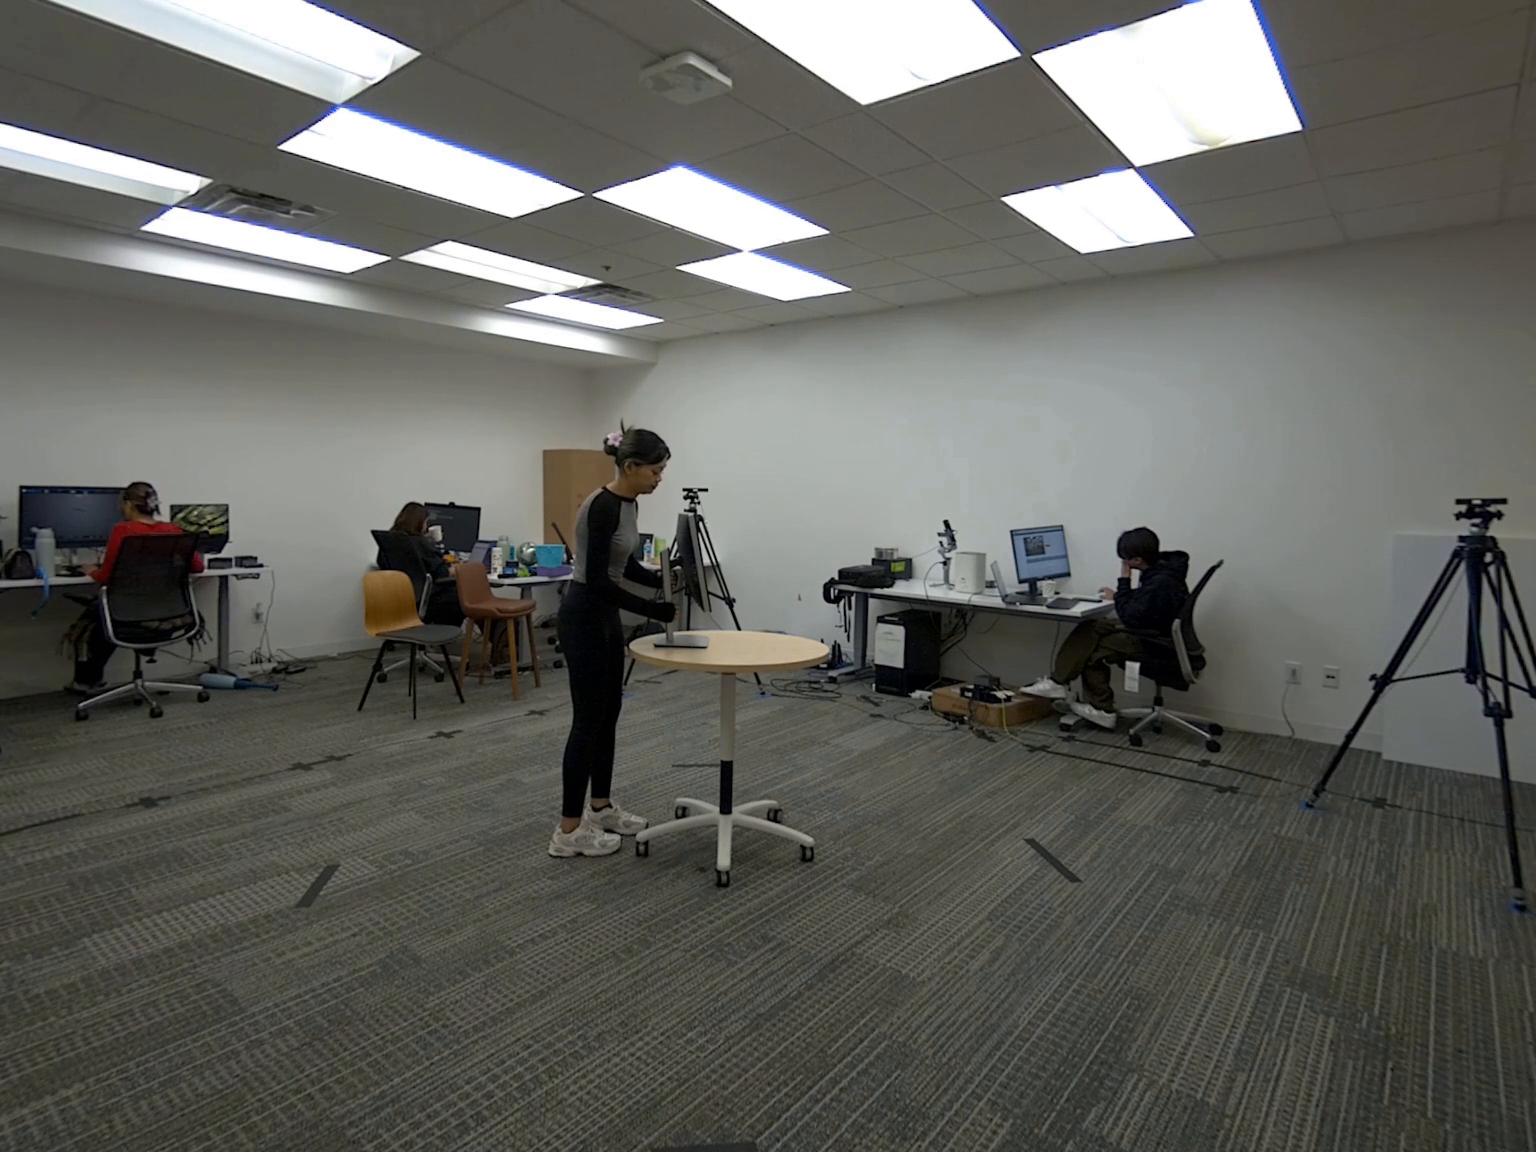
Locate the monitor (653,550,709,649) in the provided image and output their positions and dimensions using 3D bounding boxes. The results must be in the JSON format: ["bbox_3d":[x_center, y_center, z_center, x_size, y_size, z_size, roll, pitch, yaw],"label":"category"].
[{"bbox_3d":[-0.343,0.015,3.301,0.185,0.521,0.546,1,3,-11],"label":"monitor"}]
